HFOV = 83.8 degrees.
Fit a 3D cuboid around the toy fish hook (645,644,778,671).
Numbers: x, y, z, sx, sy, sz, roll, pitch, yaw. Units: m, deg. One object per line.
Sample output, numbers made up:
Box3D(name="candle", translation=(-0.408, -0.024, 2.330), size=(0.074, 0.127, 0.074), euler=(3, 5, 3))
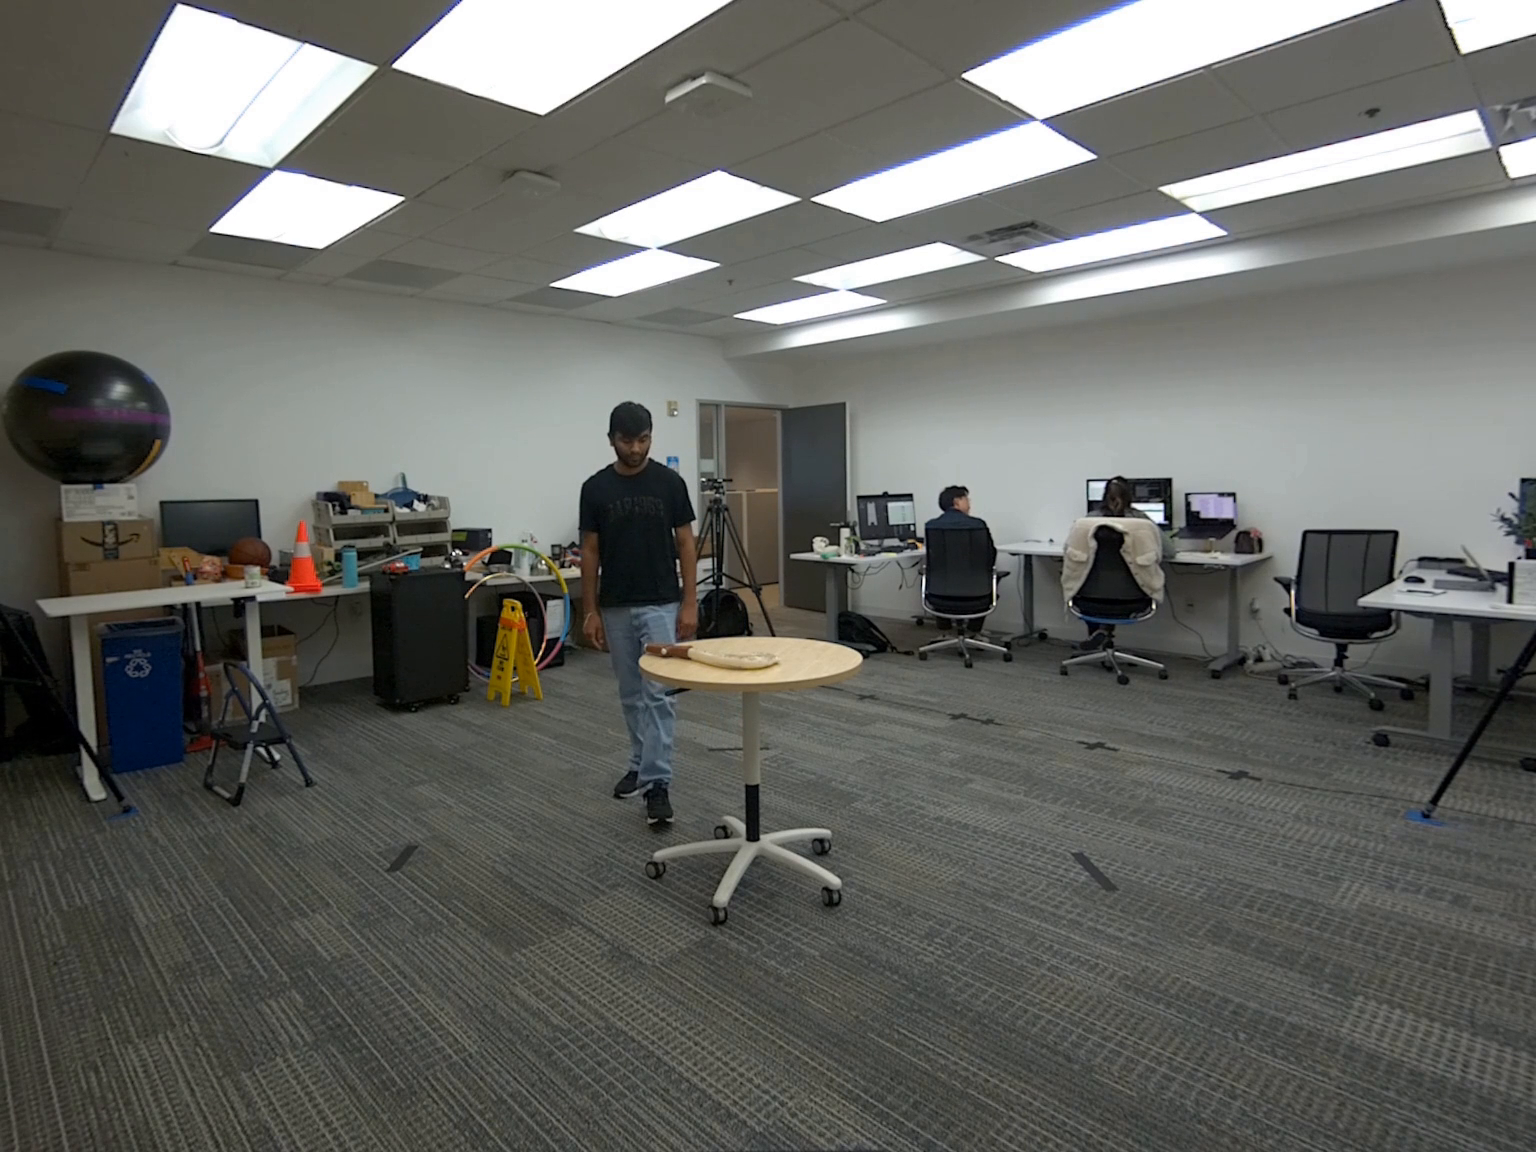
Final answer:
Box3D(name="toy fish hook", translation=(-0.197, 0.269, 2.924), size=(0.521, 0.048, 0.218), euler=(4, 4, 36))
